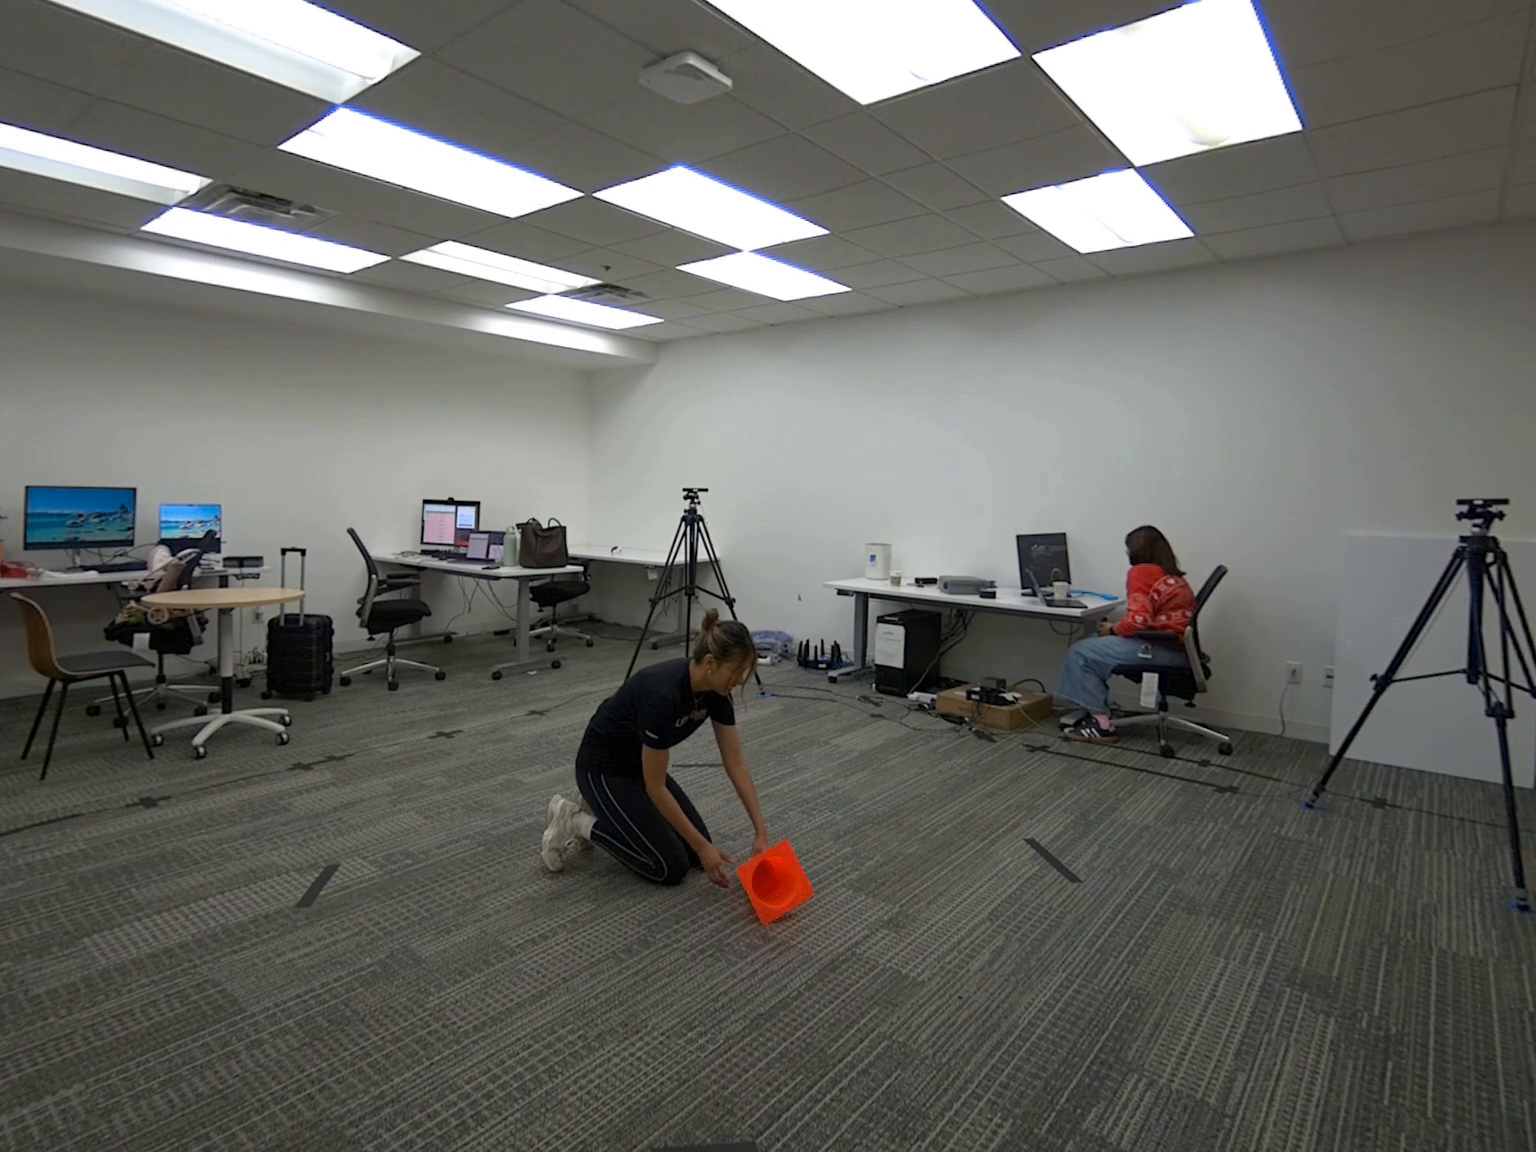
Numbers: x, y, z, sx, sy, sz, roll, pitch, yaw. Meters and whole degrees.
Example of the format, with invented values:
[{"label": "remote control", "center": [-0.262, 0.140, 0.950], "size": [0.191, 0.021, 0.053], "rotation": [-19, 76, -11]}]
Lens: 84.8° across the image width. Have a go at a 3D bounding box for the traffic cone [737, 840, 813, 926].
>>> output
[{"label": "traffic cone", "center": [-0.044, 1.028, 2.933], "size": [0.201, 0.207, 0.385], "rotation": [-18, -6, -19]}]
